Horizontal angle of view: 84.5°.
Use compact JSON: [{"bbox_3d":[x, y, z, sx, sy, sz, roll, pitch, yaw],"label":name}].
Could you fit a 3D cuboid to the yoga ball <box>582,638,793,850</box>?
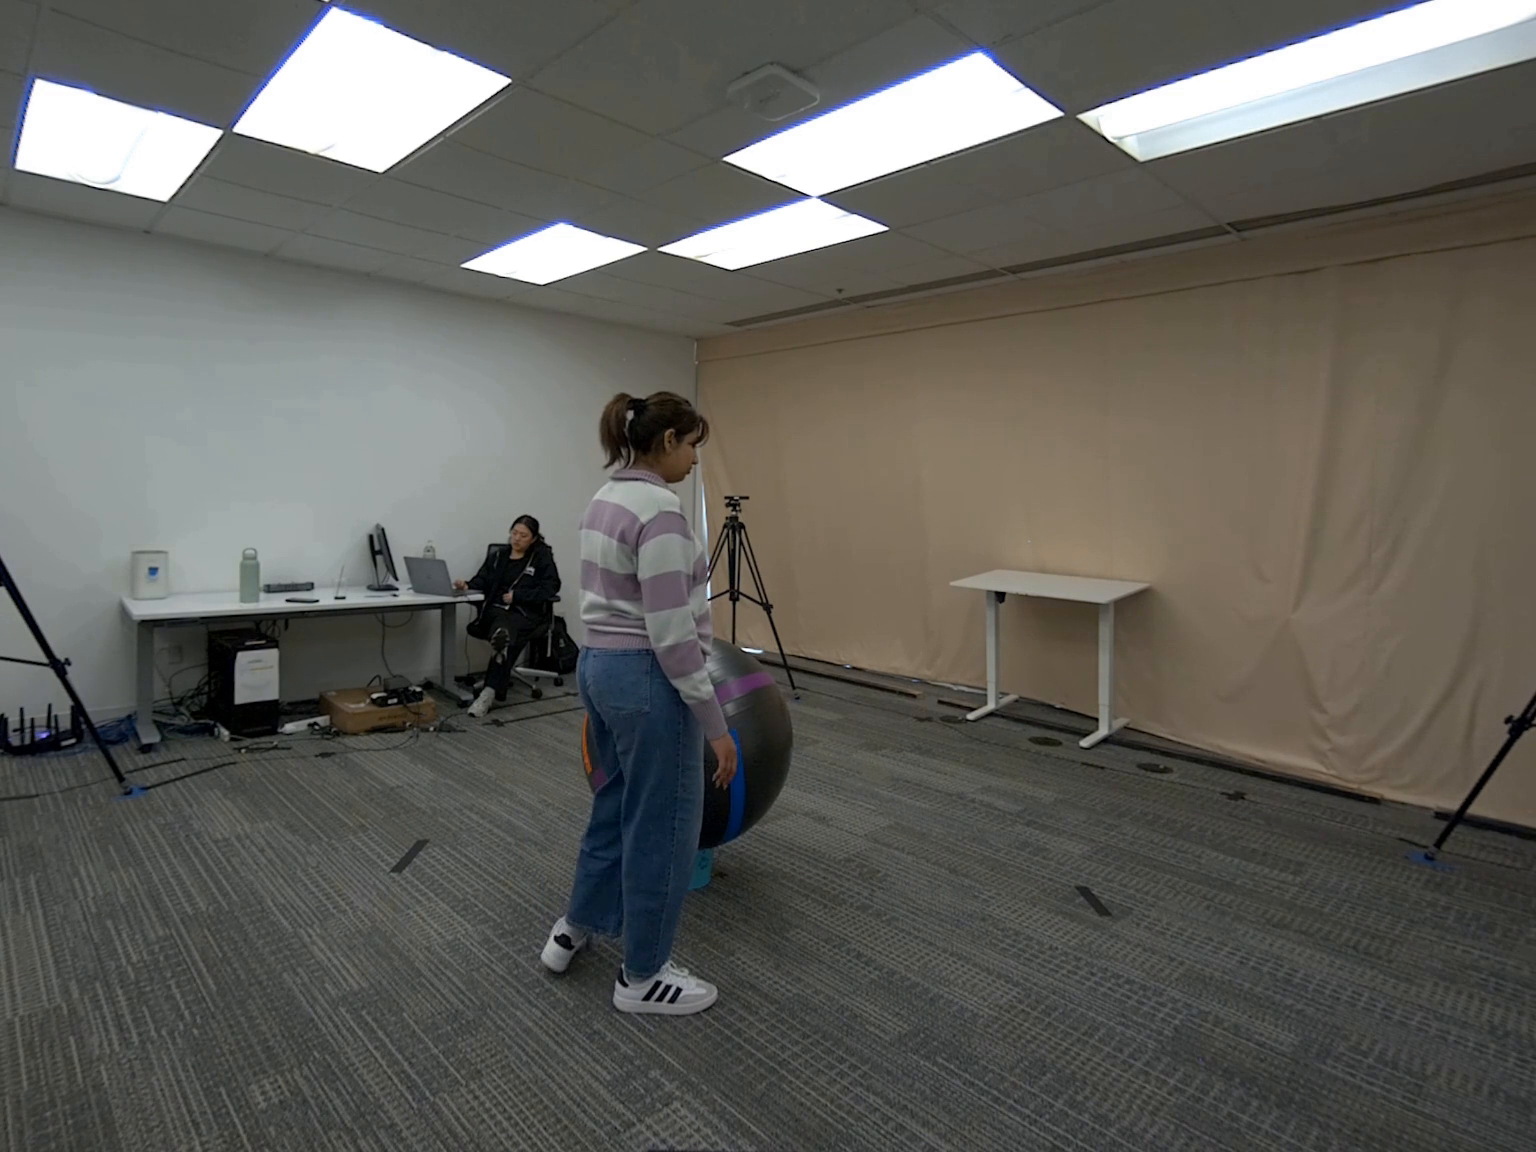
[{"bbox_3d":[-0.293,0.597,3.045,0.757,0.756,0.761,1,4,-1],"label":"yoga ball"}]
